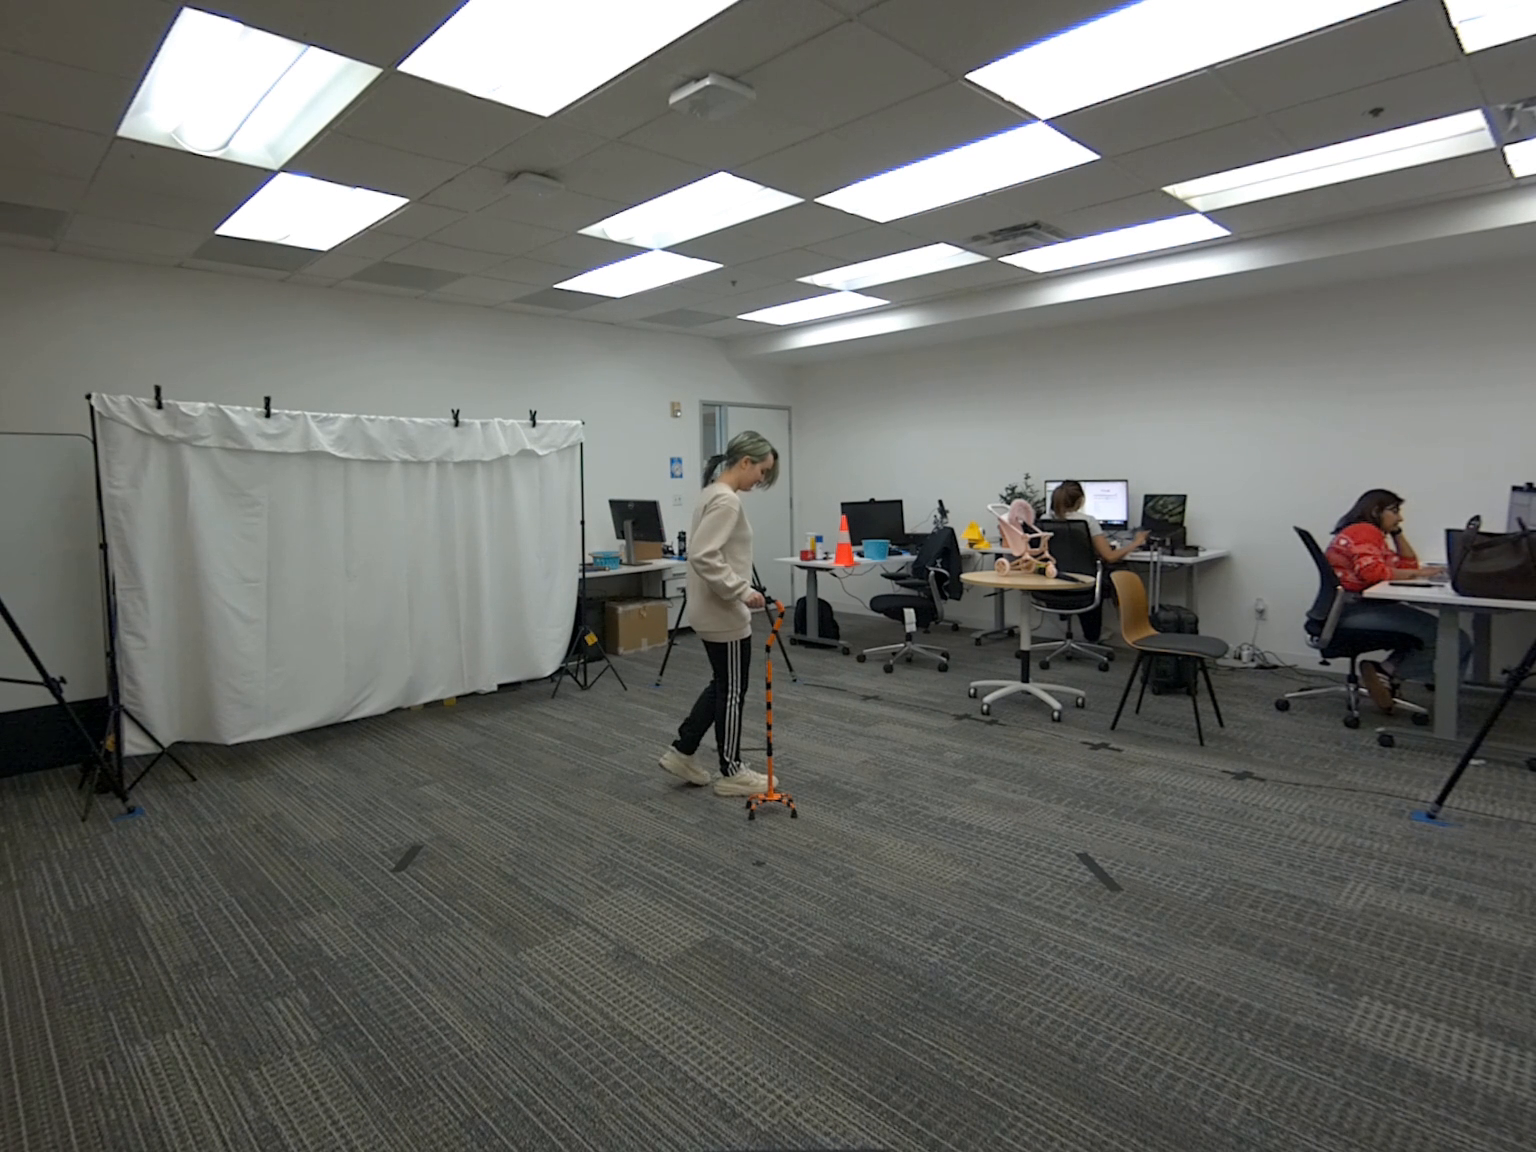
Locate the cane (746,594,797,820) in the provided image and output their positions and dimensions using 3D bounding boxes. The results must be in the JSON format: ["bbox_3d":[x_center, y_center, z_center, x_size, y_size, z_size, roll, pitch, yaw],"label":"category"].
[{"bbox_3d":[0.014,0.543,3.562,0.205,0.905,0.153,-1,4,-5],"label":"cane"}]
